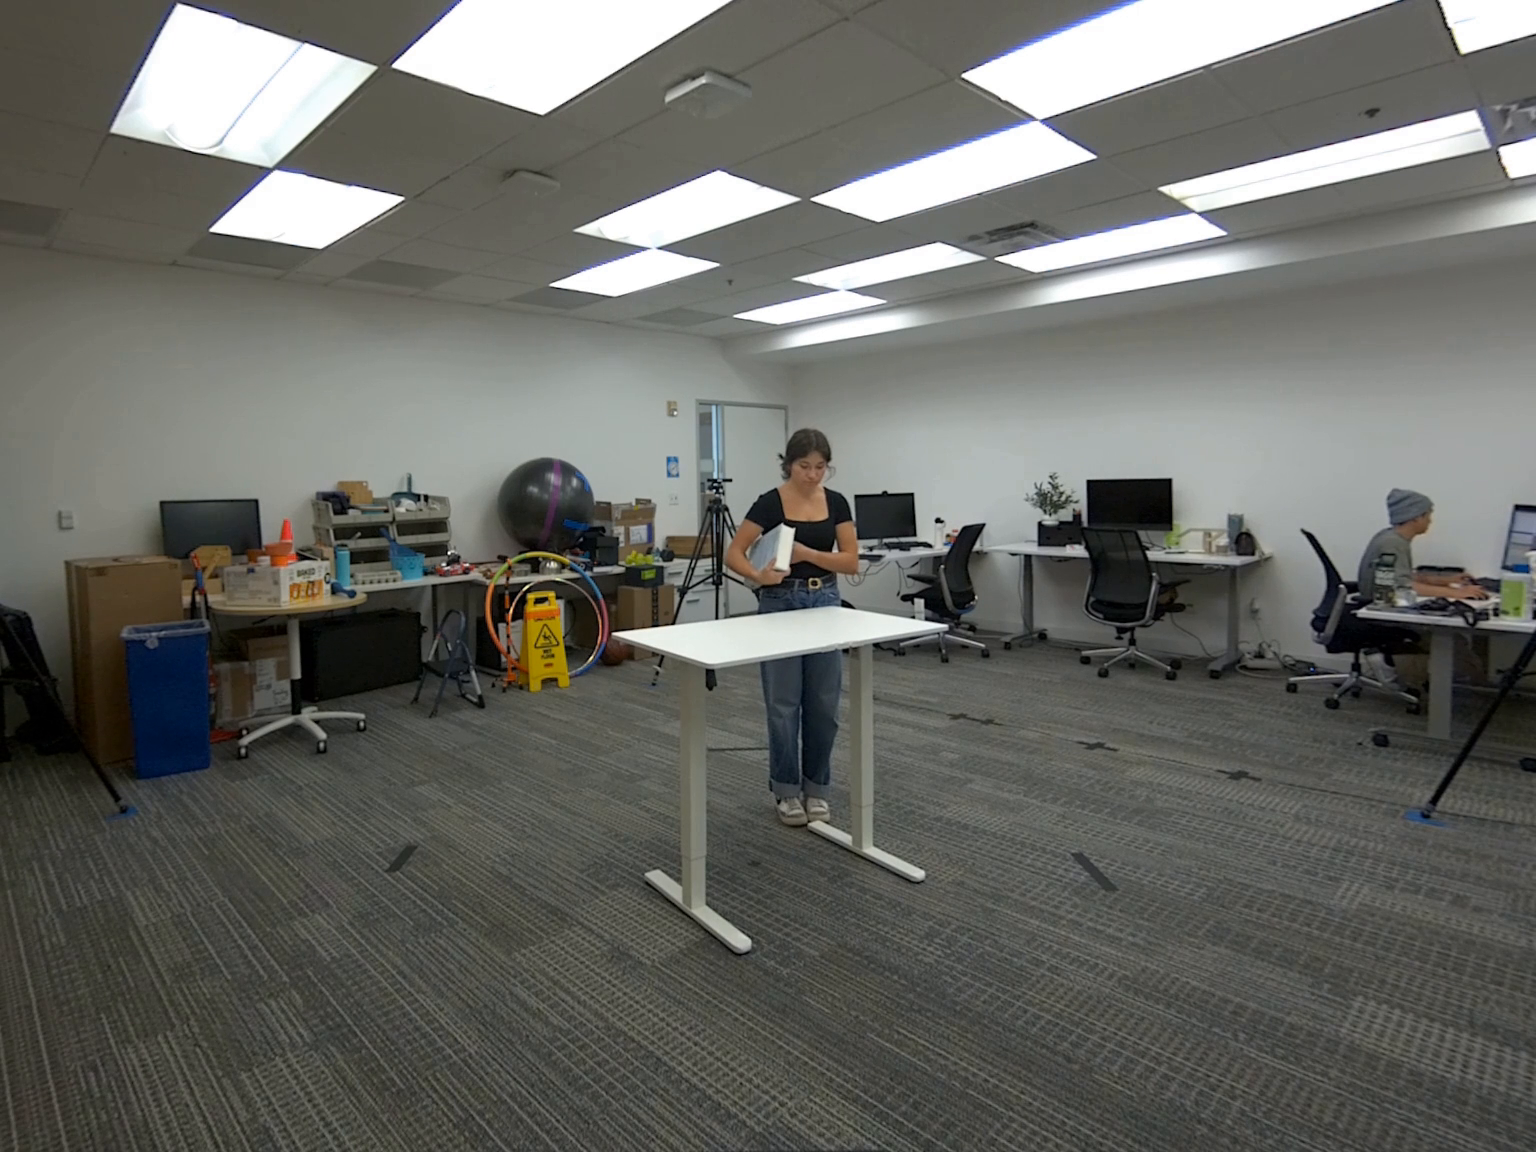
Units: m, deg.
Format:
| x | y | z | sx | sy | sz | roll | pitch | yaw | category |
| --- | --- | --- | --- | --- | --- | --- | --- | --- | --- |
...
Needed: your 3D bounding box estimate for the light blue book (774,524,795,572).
| x | y | z | sx | sy | sz | roll | pitch | yaw | category |
| --- | --- | --- | --- | --- | --- | --- | --- | --- | --- |
| 0.008 | -0.070 | 3.374 | 0.058 | 0.194 | 0.263 | 20 | -22 | -19 | light blue book |
